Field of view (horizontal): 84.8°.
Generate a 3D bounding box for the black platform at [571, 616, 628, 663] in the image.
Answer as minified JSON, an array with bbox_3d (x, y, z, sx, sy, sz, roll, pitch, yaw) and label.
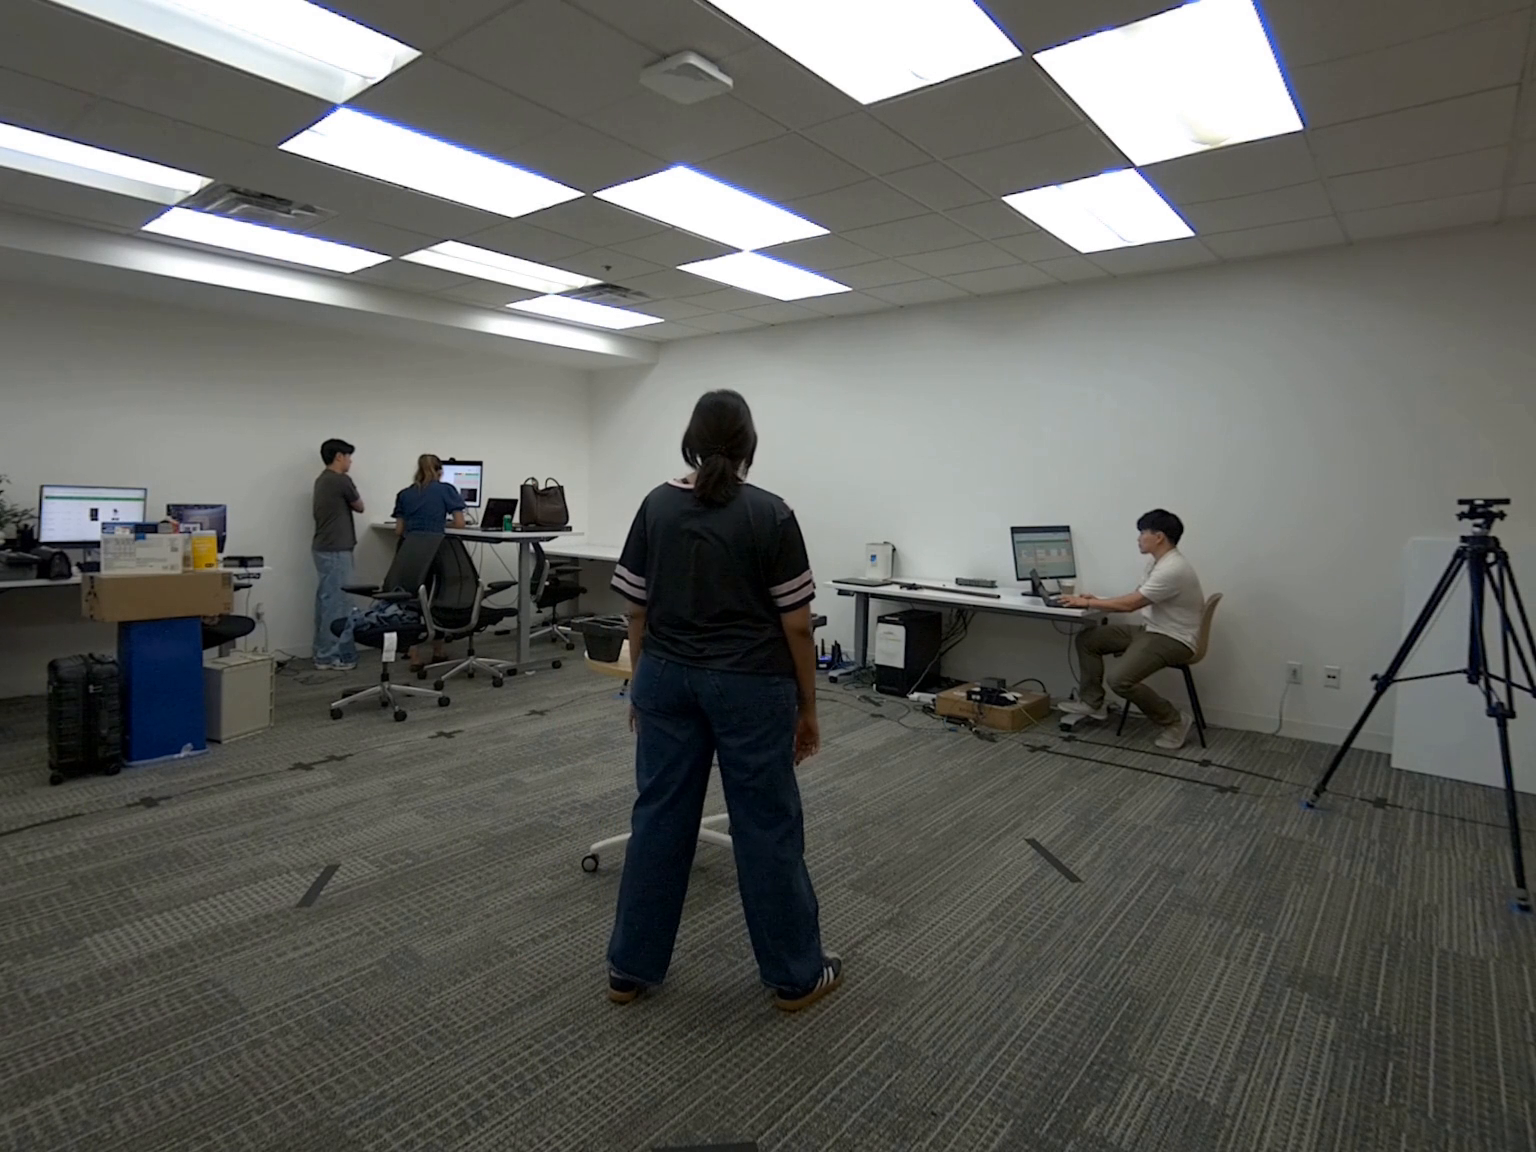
[{"bbox_3d":[-0.233,0.221,3.123,0.625,0.143,0.783,6,8,34],"label":"black platform"}]
